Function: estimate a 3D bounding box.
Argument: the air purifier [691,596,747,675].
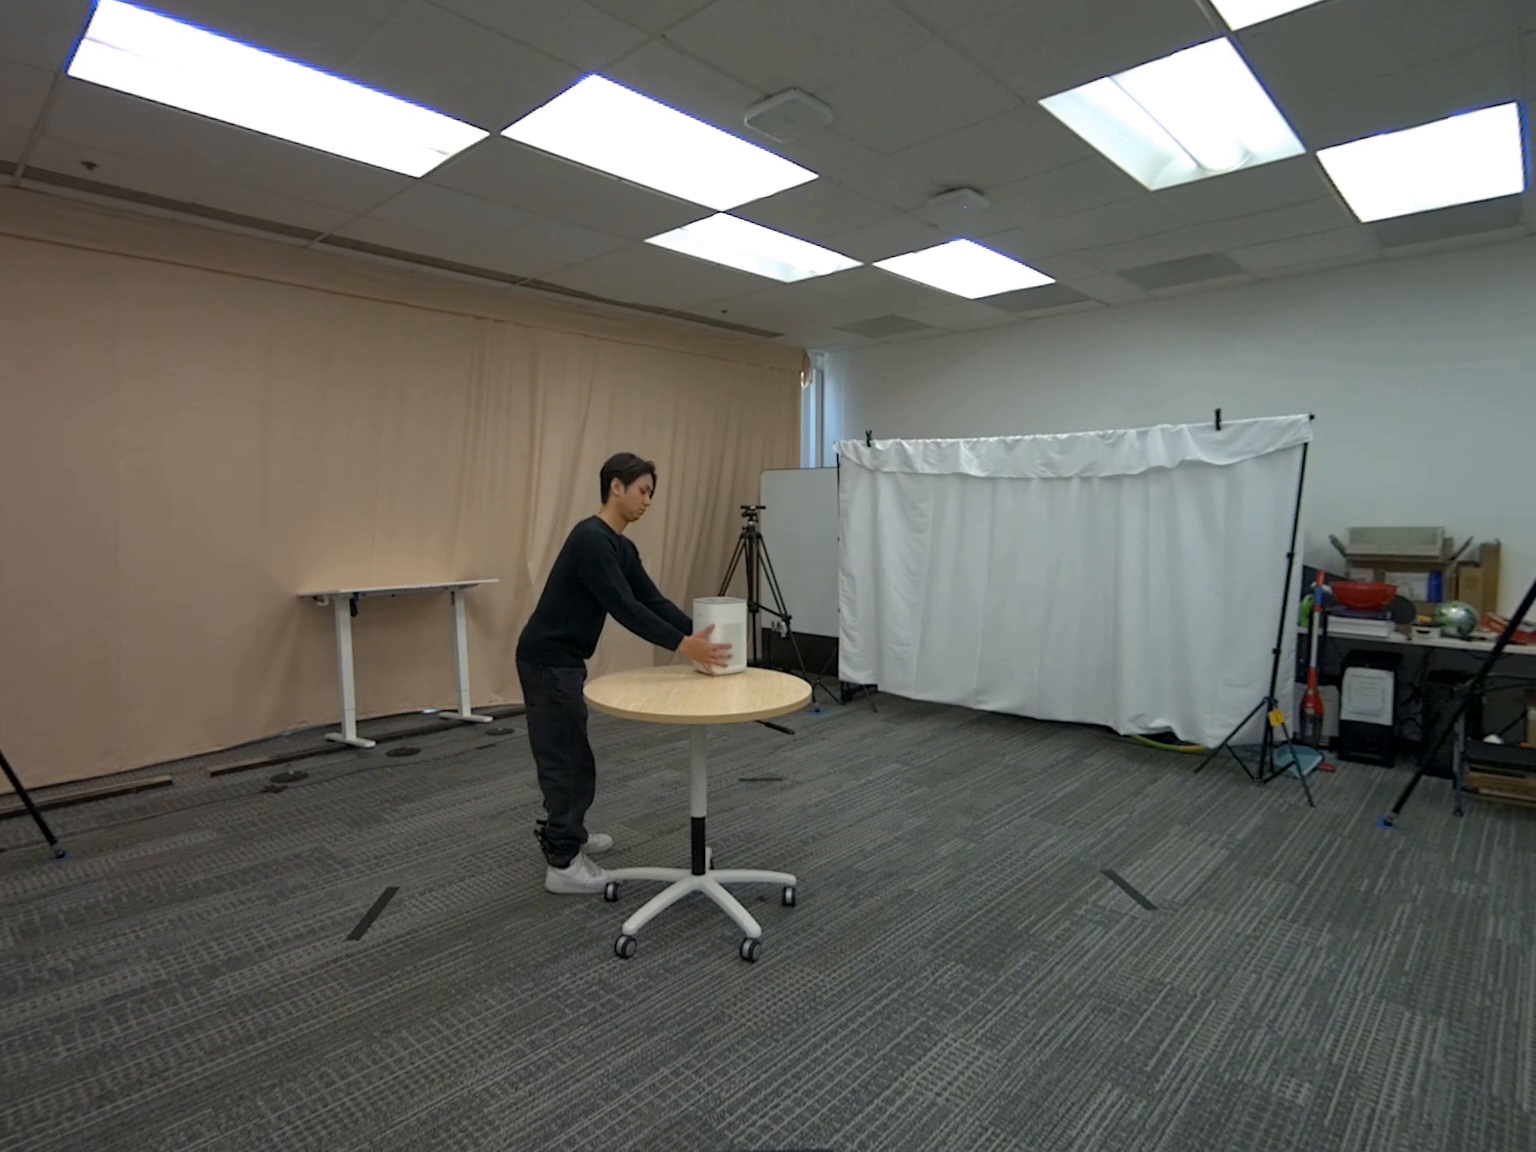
[{"bbox_3d":[-0.178,0.222,3.071,0.166,0.265,0.176,-3,5,-36],"label":"air purifier"}]
